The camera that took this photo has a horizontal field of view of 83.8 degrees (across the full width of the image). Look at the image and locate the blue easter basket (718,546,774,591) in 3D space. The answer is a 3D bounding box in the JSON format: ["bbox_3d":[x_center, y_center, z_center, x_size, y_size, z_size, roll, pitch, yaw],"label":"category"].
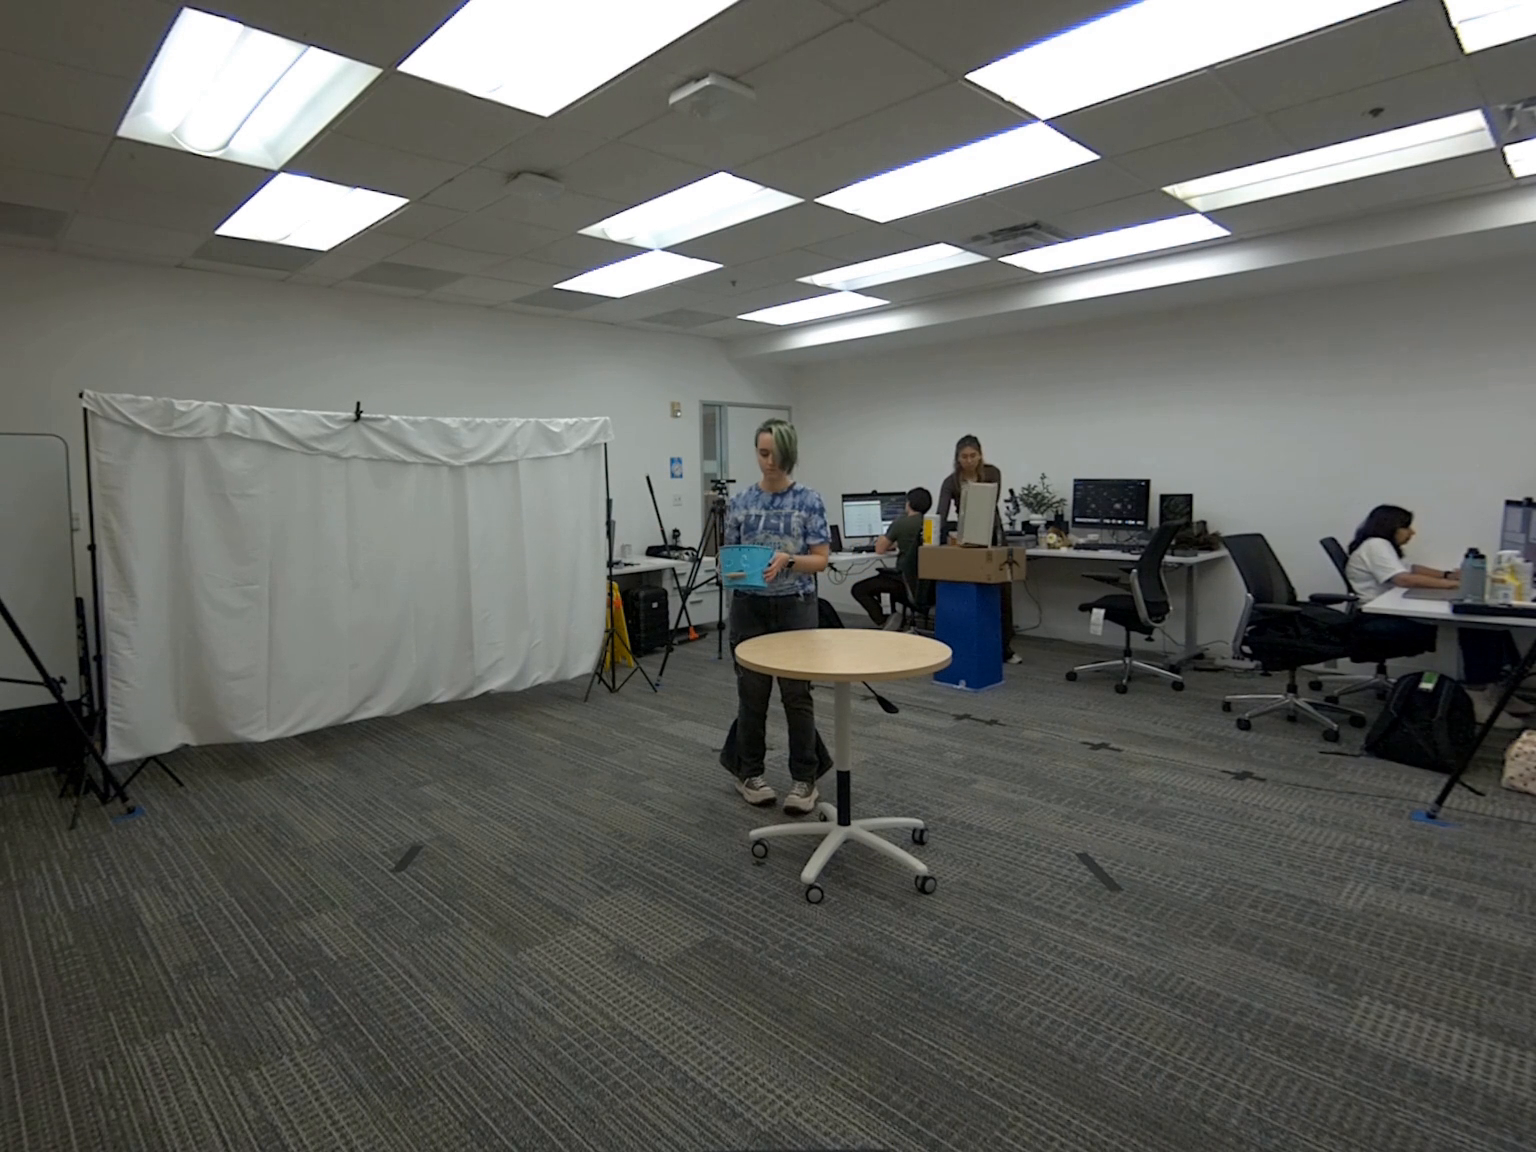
[{"bbox_3d":[-0.102,-0.024,3.445,0.243,0.157,0.242,2,-7,-1],"label":"blue easter basket"}]
